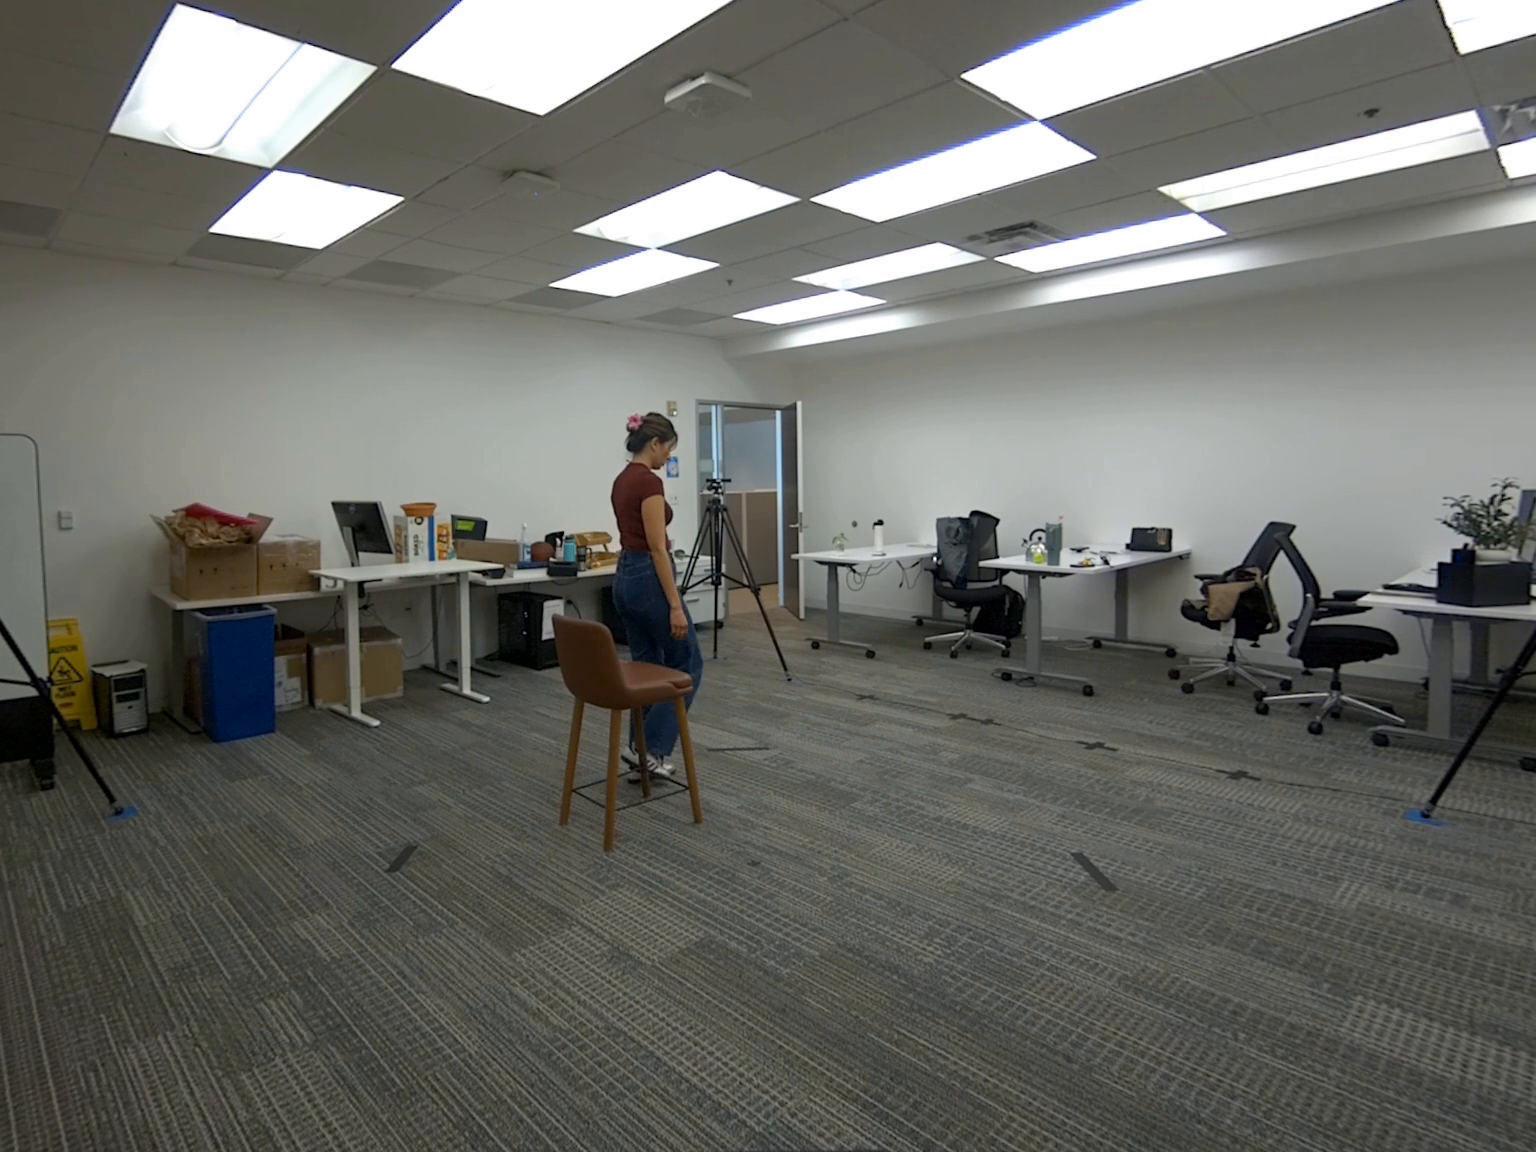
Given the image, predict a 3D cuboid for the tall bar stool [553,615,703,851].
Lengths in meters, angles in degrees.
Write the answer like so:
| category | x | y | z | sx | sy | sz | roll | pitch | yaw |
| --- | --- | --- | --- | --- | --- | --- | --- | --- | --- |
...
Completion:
| category | x | y | z | sx | sy | sz | roll | pitch | yaw |
| --- | --- | --- | --- | --- | --- | --- | --- | --- | --- |
| tall bar stool | -0.586 | 0.582 | 3.478 | 0.456 | 0.886 | 0.470 | -7 | 6 | -41 |
